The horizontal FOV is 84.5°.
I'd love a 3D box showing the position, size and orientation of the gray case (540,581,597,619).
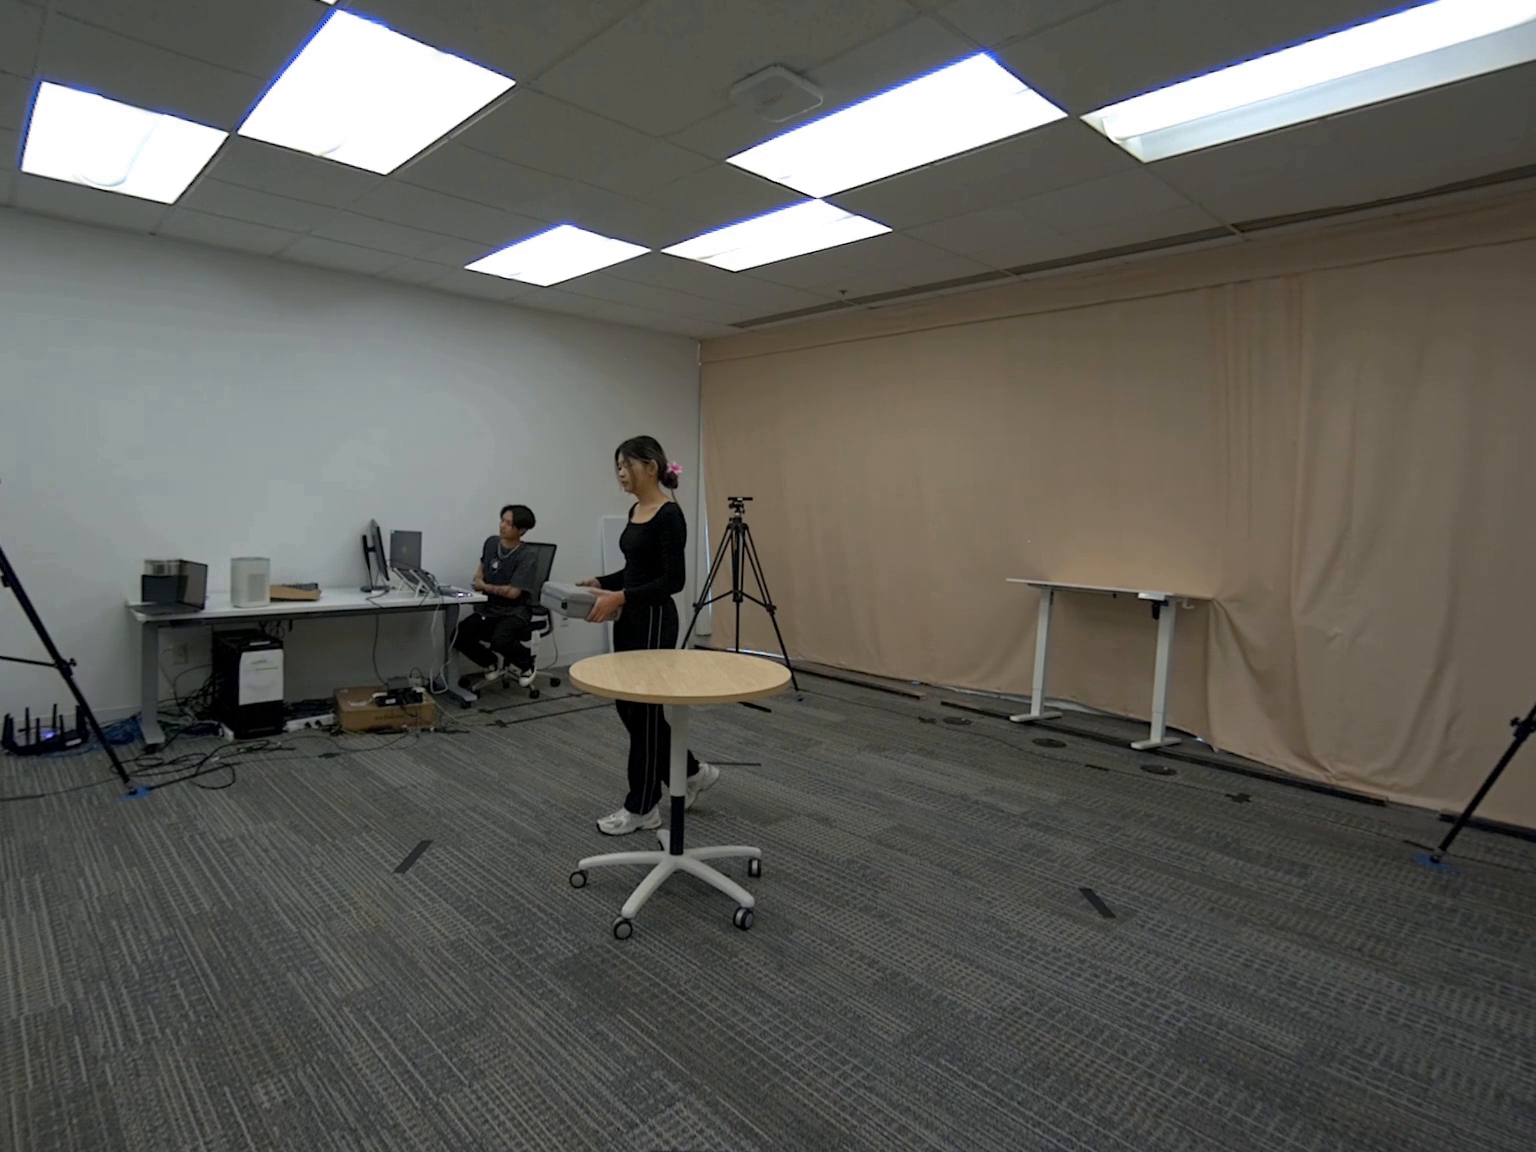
[{"bbox_3d":[-0.756,0.098,3.365,0.254,0.104,0.264,7,3,-44],"label":"gray case"}]
